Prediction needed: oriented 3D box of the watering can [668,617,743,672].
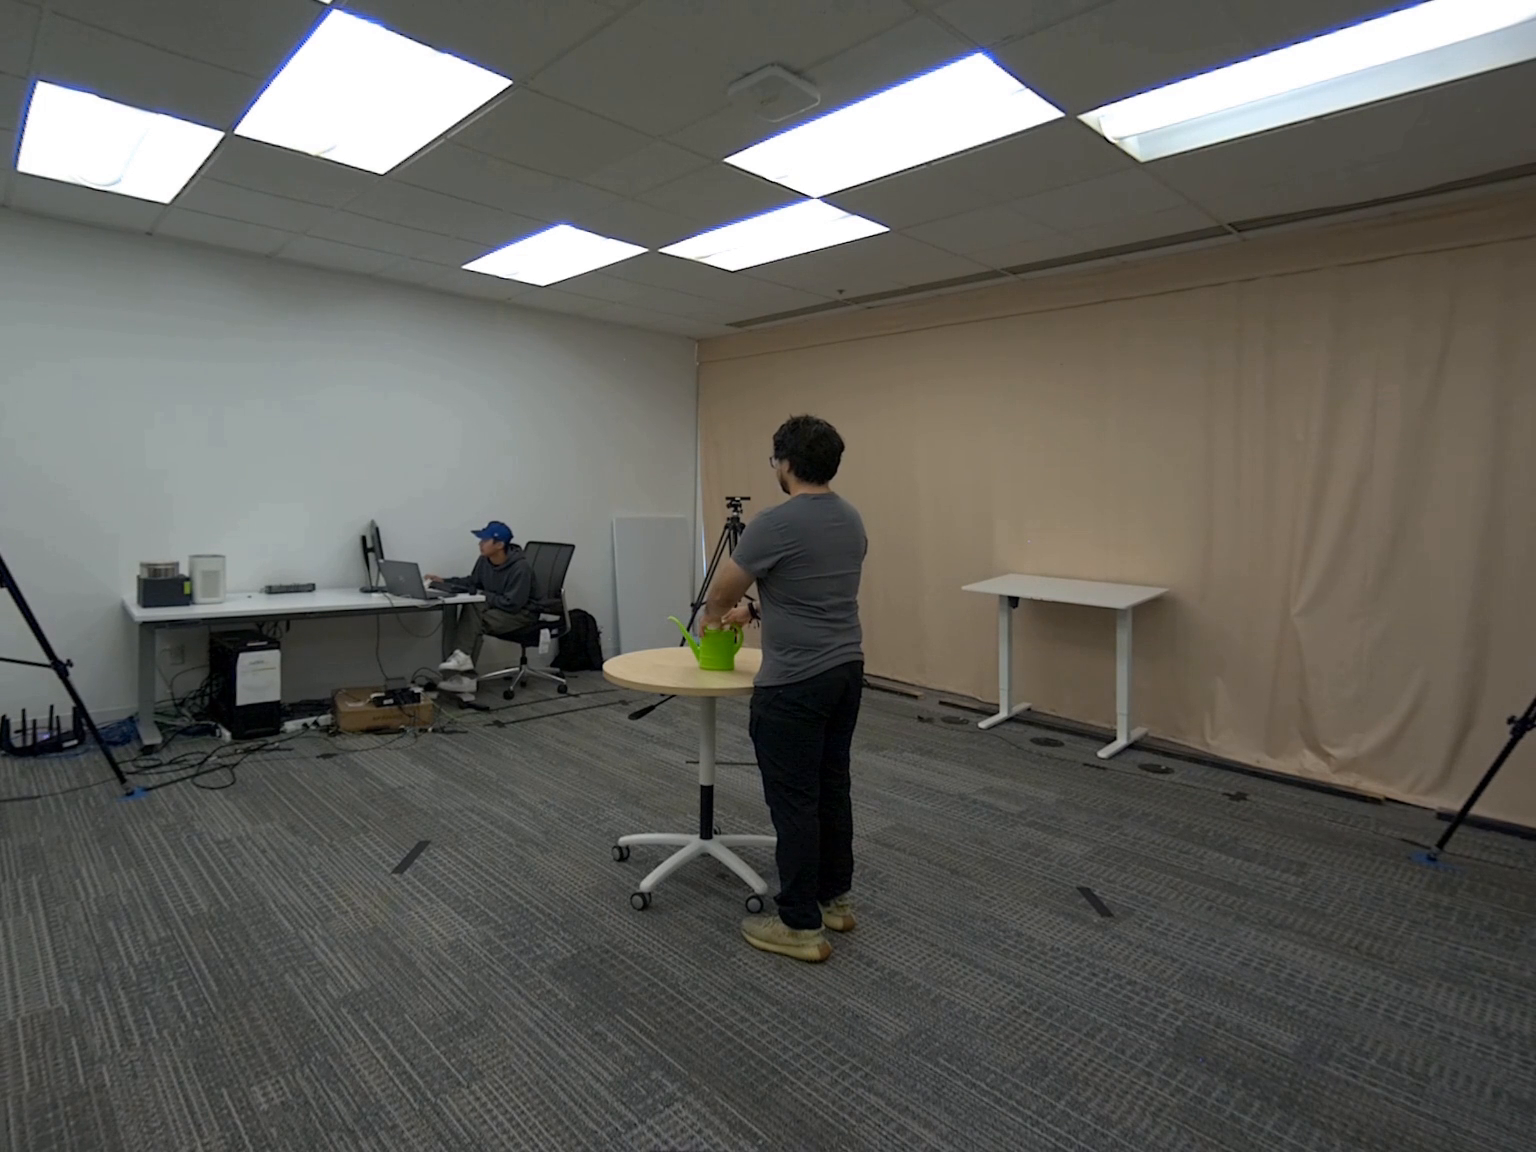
[{"bbox_3d":[-0.227,0.244,3.028,0.285,0.176,0.096,8,8,31],"label":"watering can"}]
